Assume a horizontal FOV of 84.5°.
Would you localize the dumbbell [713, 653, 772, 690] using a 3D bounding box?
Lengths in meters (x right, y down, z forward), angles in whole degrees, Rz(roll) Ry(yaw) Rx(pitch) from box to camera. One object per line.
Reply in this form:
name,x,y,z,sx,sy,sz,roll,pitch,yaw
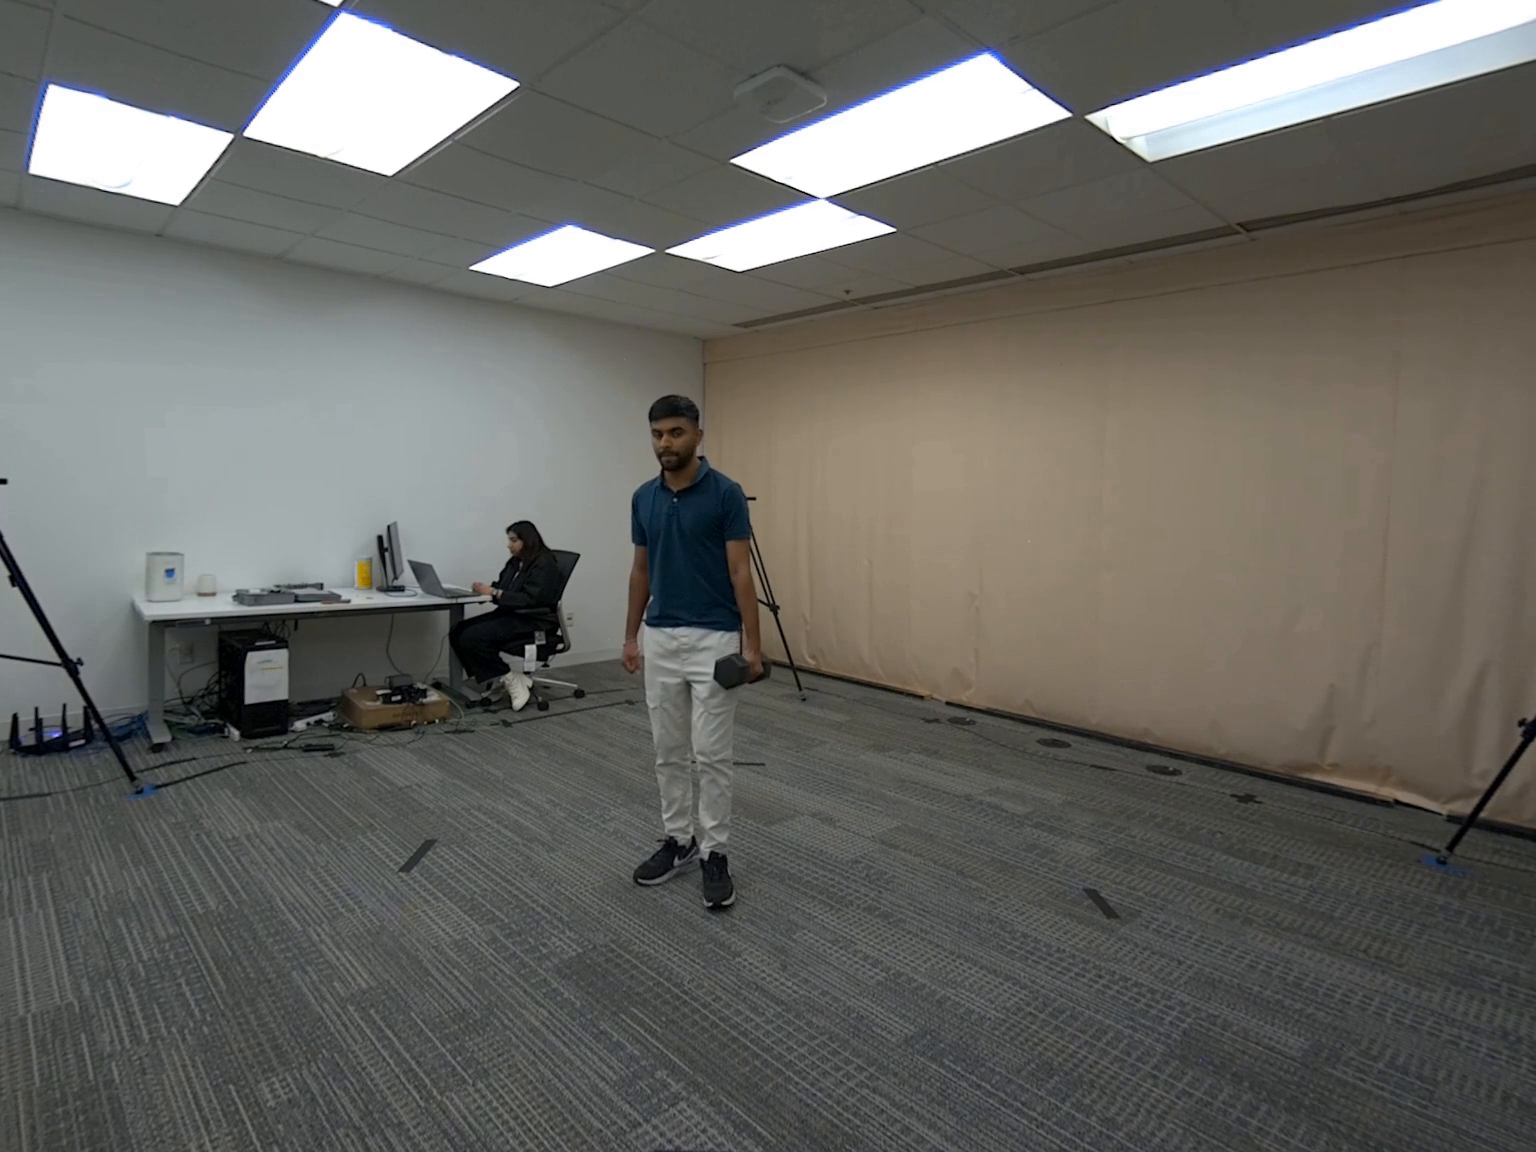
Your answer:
dumbbell,-0.094,0.323,2.892,0.111,0.123,0.288,9,1,21
